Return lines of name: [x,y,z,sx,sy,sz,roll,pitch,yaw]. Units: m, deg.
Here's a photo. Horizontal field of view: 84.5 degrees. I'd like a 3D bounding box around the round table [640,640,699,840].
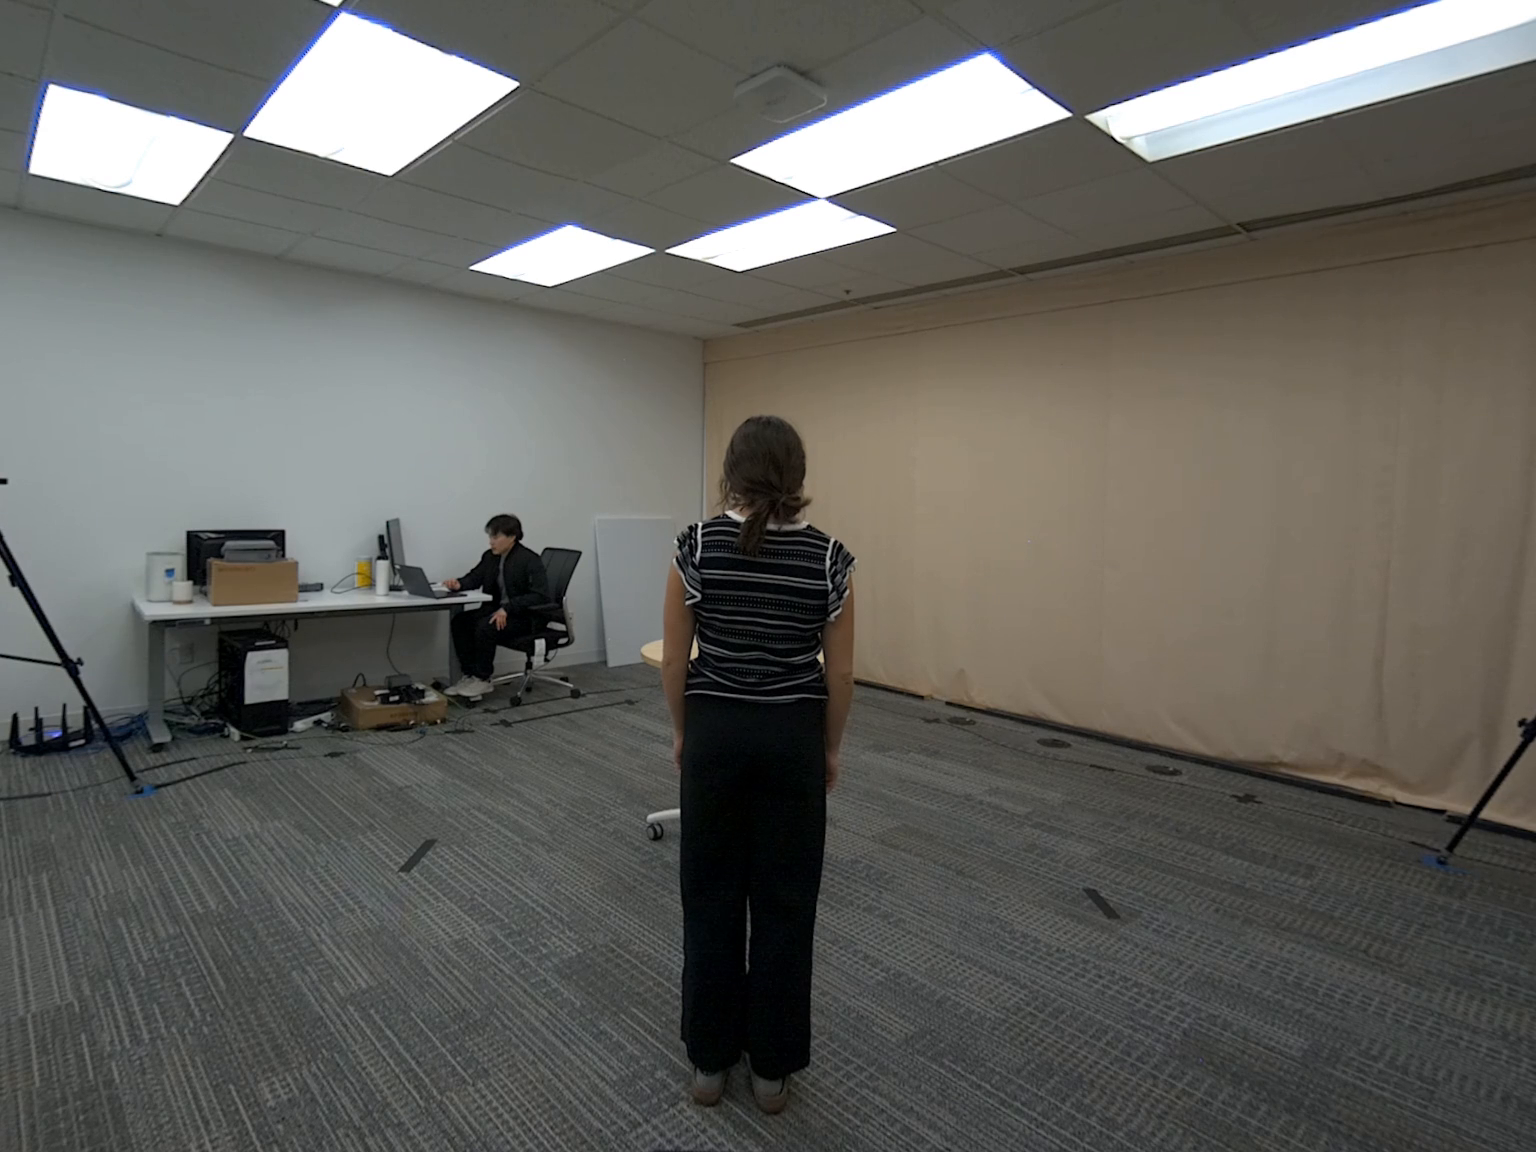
round table: [-0.136,0.698,3.397,0.763,0.792,0.767,1,4,-1]
